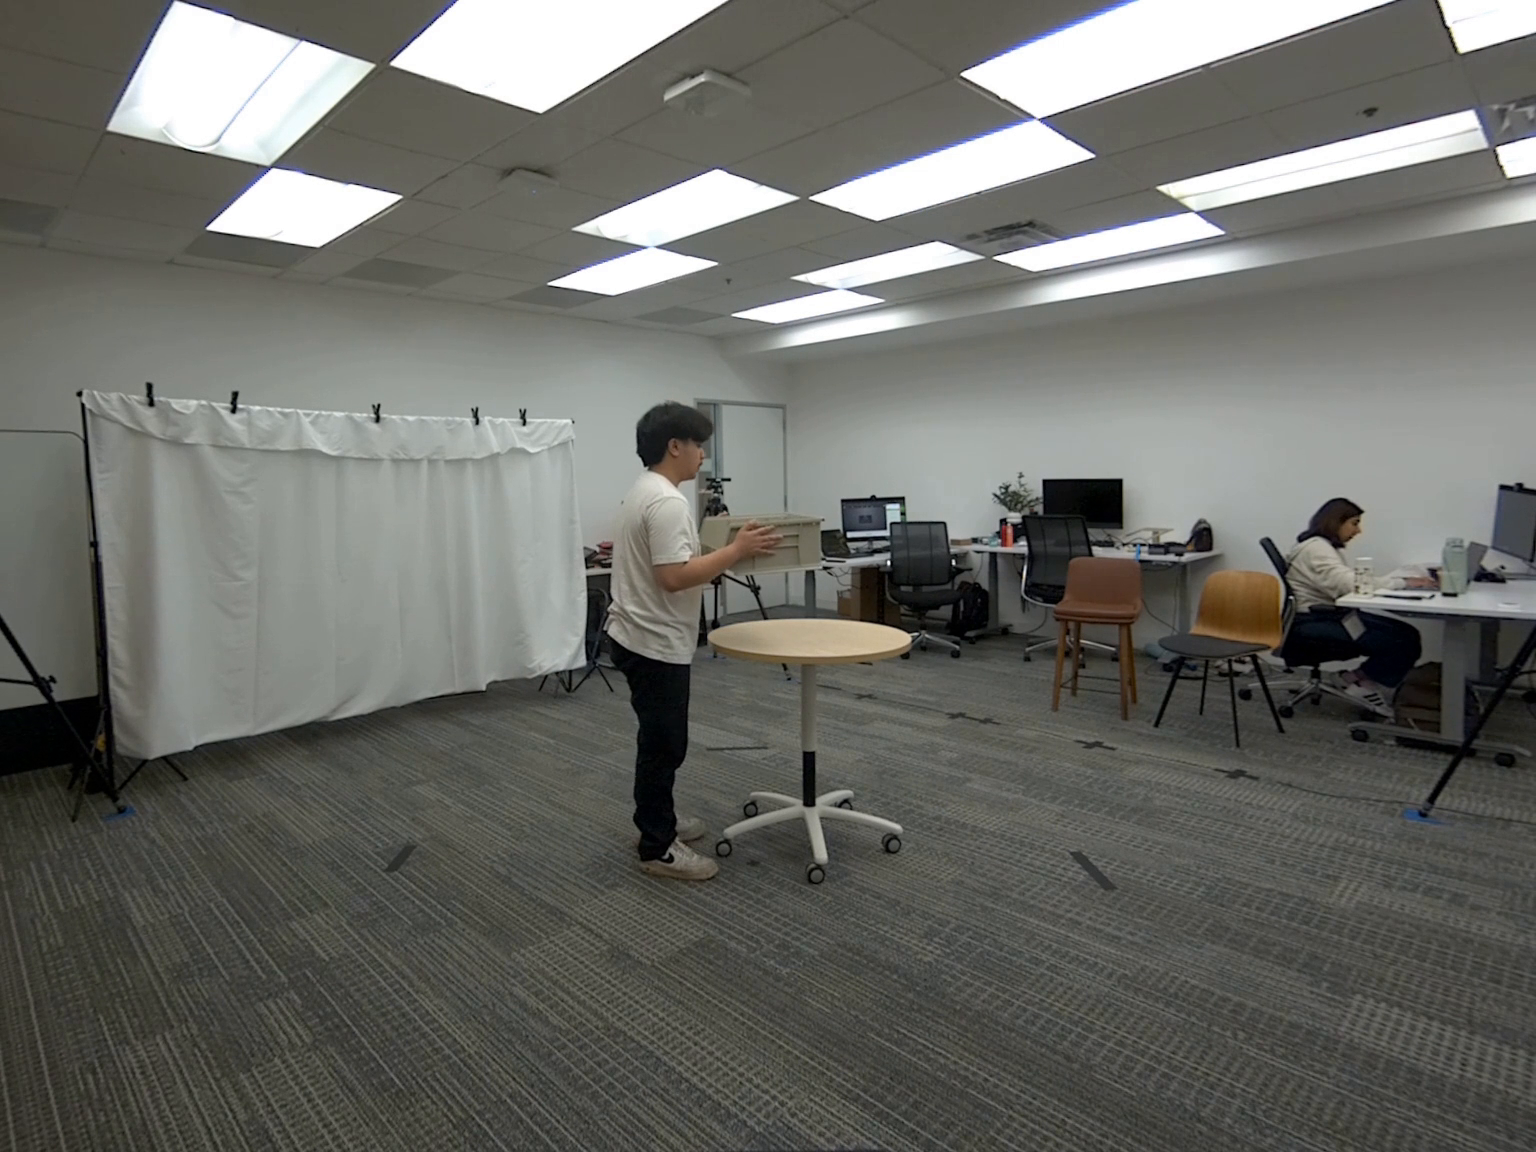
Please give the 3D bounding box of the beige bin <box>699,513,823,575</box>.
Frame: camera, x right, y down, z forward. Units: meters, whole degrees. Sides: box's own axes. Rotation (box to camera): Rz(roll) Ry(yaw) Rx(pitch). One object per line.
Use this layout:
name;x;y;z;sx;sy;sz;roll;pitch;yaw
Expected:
beige bin;-0.032;-0.114;3.142;0.372;0.188;0.429;-3;5;-15
